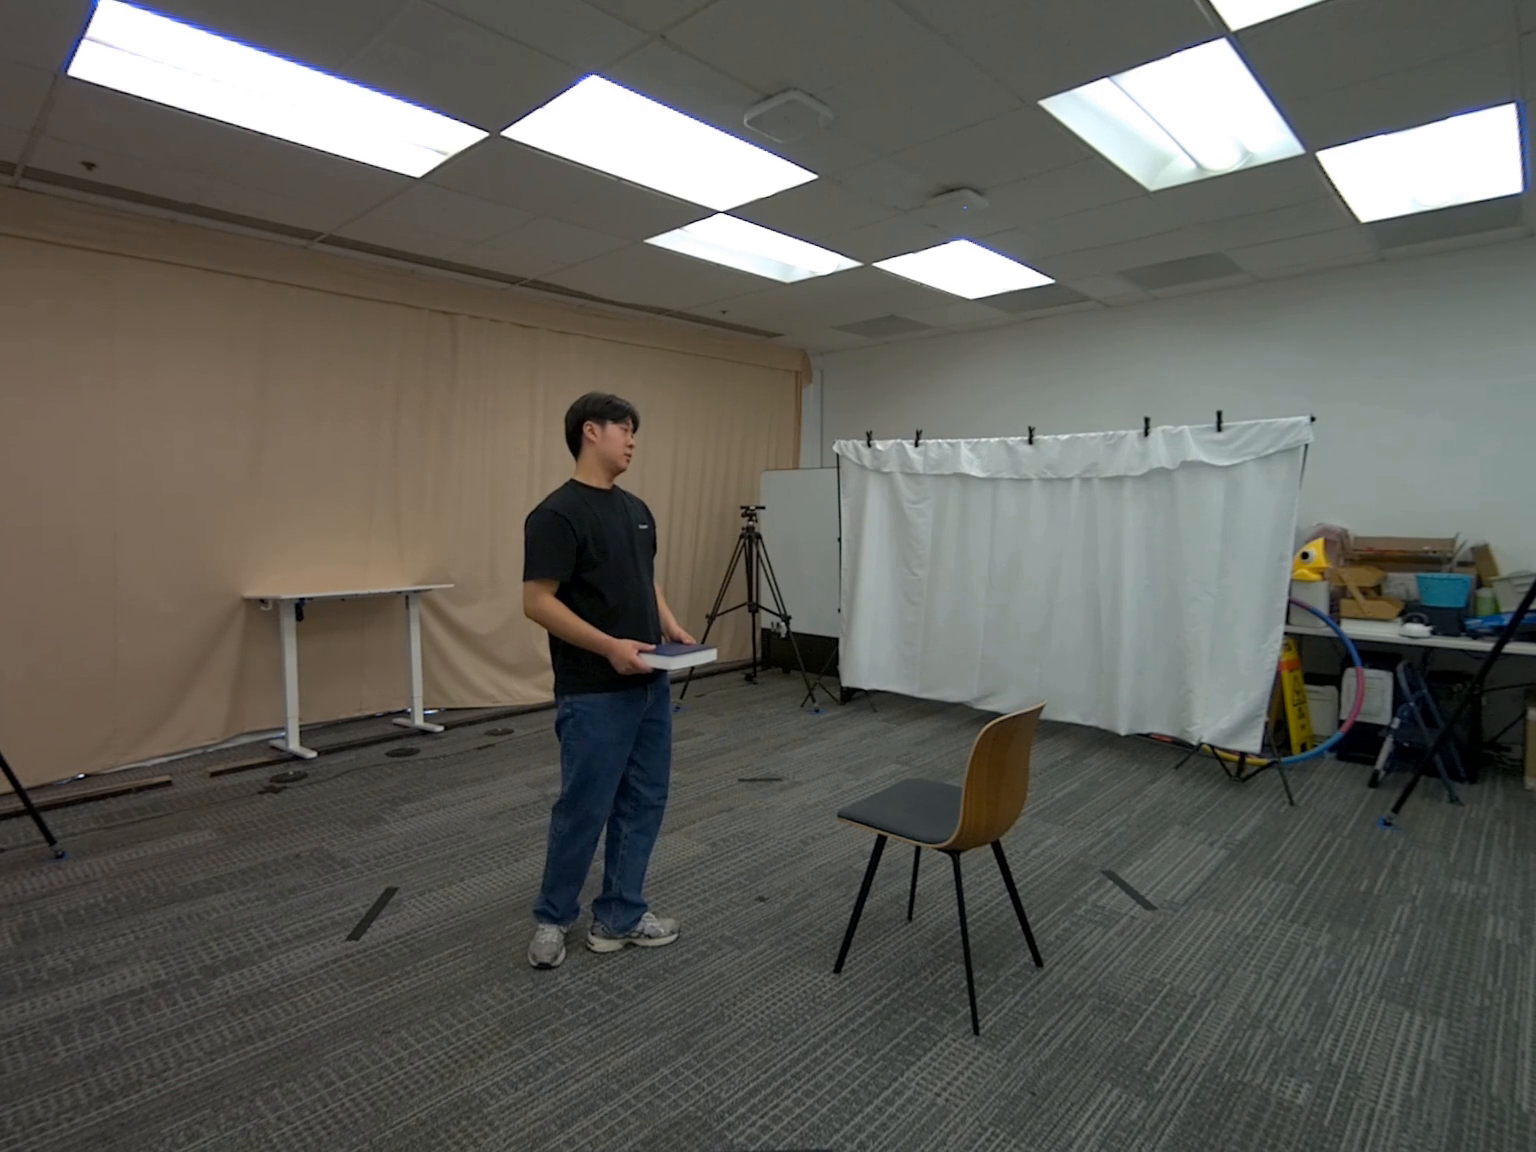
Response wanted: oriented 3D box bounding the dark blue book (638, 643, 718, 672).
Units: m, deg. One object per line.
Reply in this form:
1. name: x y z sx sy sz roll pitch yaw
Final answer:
1. dark blue book: -0.272 0.240 2.481 0.168 0.045 0.238 3 3 28
